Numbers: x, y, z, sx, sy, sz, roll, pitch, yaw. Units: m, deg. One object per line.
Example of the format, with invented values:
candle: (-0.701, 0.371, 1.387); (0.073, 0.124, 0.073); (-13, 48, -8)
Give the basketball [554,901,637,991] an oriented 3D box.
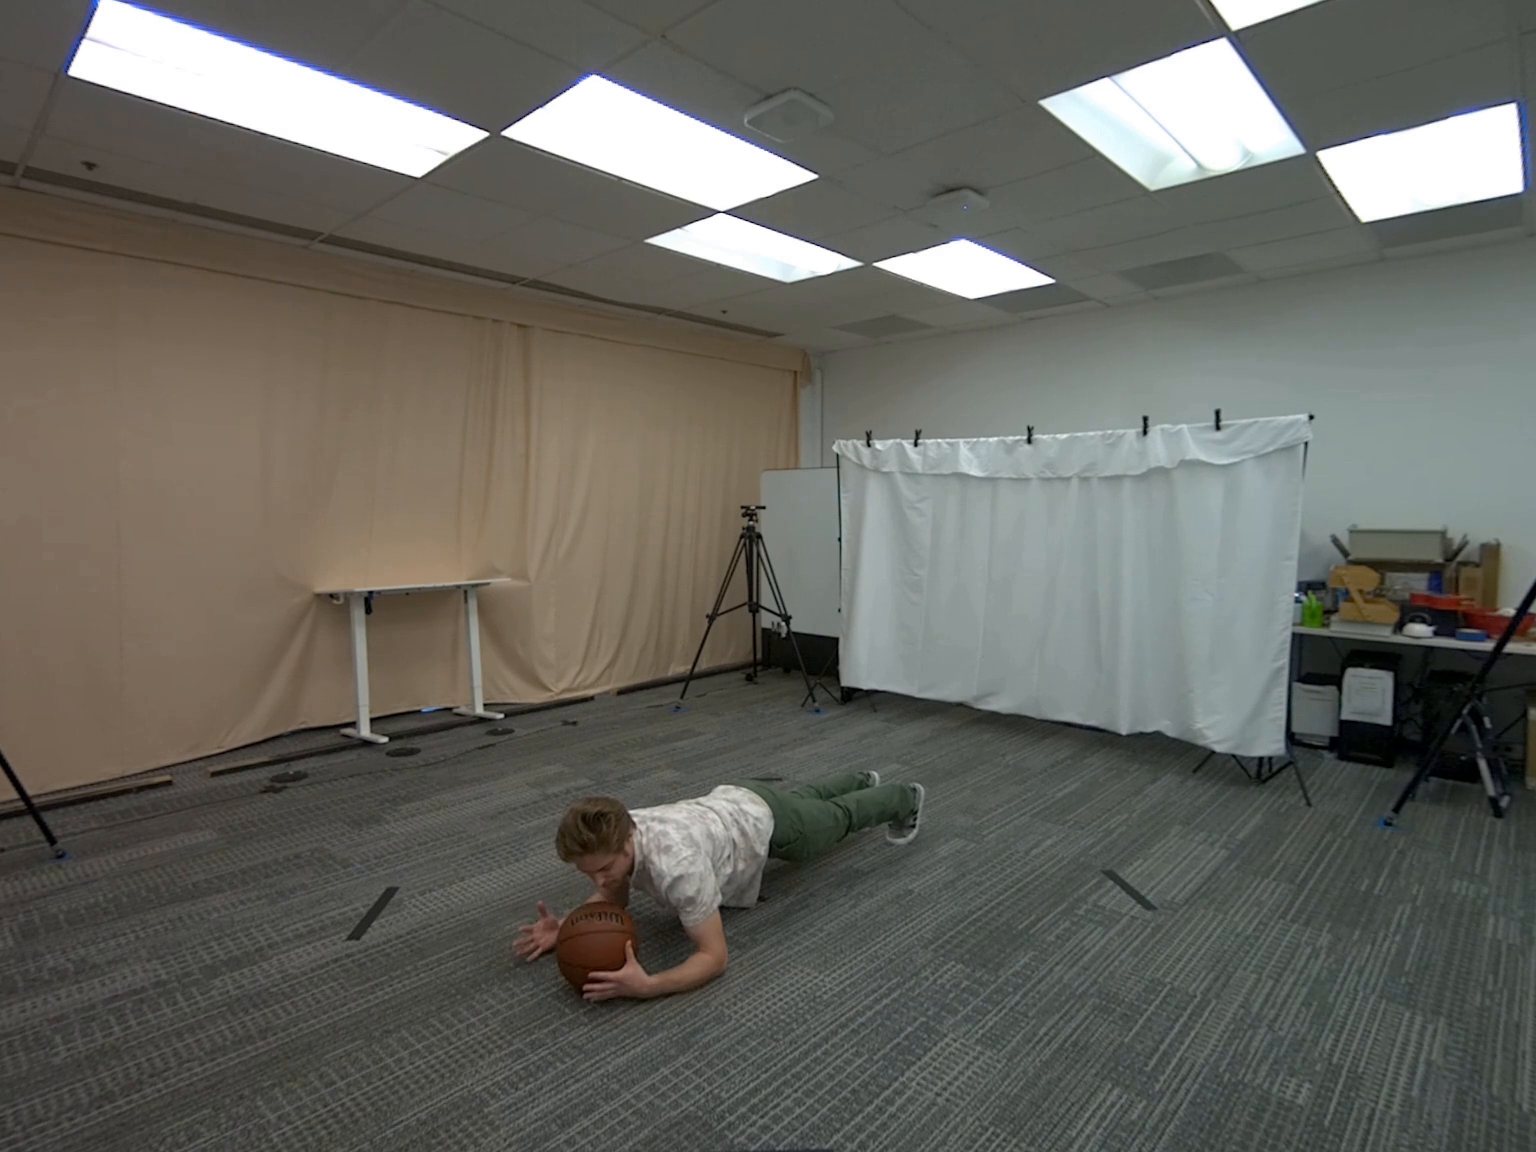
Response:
basketball: (-0.495, 1.070, 2.449); (0.236, 0.235, 0.237); (0, 4, -2)
